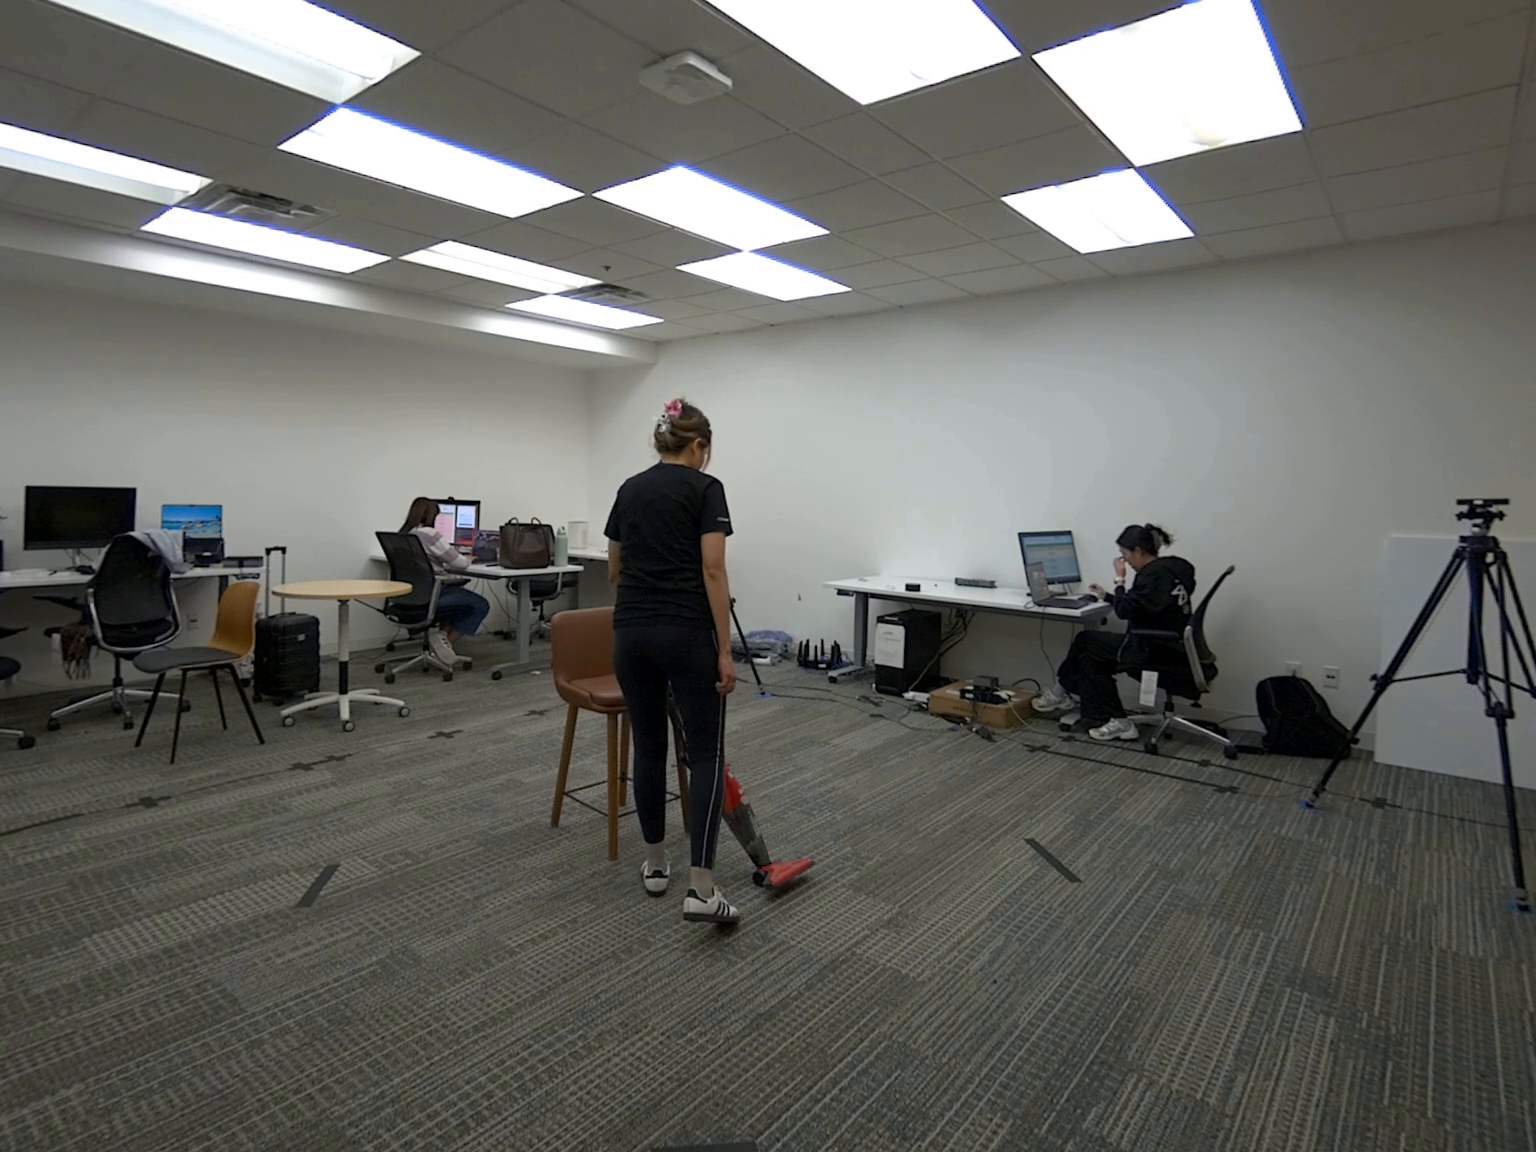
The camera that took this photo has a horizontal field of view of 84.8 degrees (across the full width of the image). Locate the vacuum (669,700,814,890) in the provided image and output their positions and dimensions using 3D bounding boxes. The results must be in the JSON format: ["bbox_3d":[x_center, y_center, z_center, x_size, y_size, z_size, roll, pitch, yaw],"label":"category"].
[{"bbox_3d":[-0.243,0.674,3.213,0.245,1.084,0.144,-1,-42,-51],"label":"vacuum"}]
